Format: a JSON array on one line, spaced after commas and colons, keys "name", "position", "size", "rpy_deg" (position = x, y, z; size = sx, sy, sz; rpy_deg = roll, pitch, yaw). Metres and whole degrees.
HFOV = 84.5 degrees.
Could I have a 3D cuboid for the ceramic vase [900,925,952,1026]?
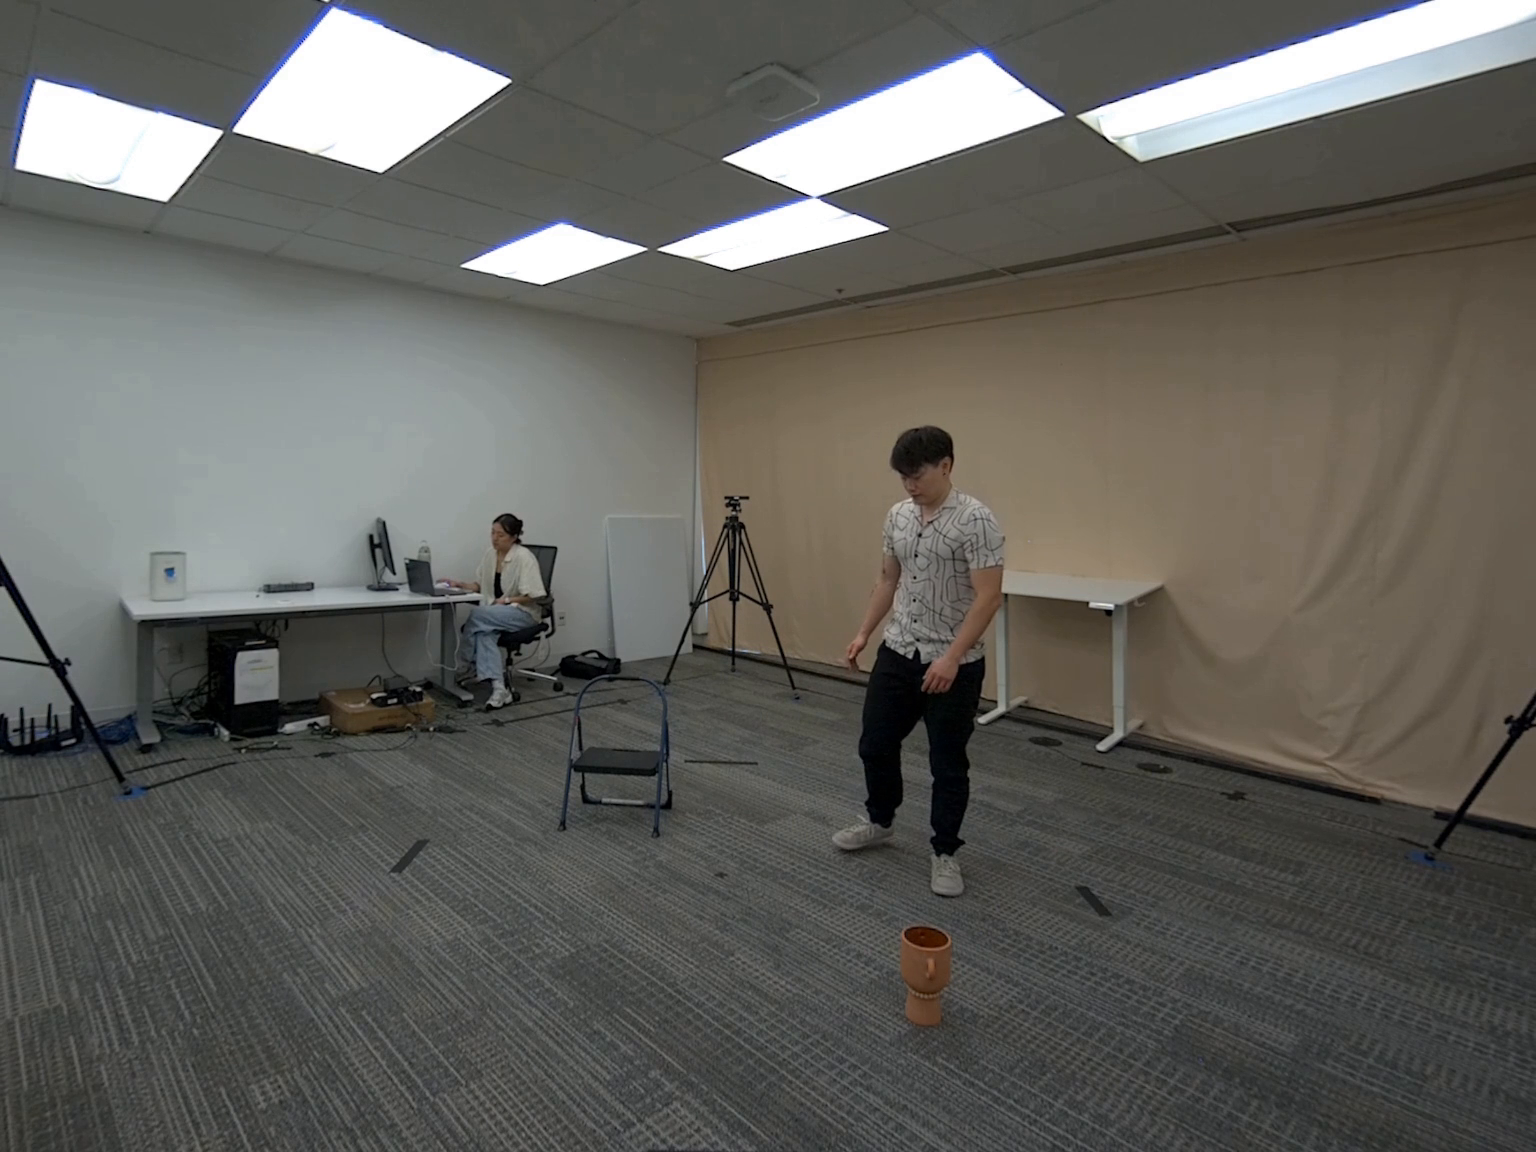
[{"name": "ceramic vase", "position": [0.419, 1.085, 2.276], "size": [0.138, 0.219, 0.155], "rpy_deg": [5, 6, 41]}]
